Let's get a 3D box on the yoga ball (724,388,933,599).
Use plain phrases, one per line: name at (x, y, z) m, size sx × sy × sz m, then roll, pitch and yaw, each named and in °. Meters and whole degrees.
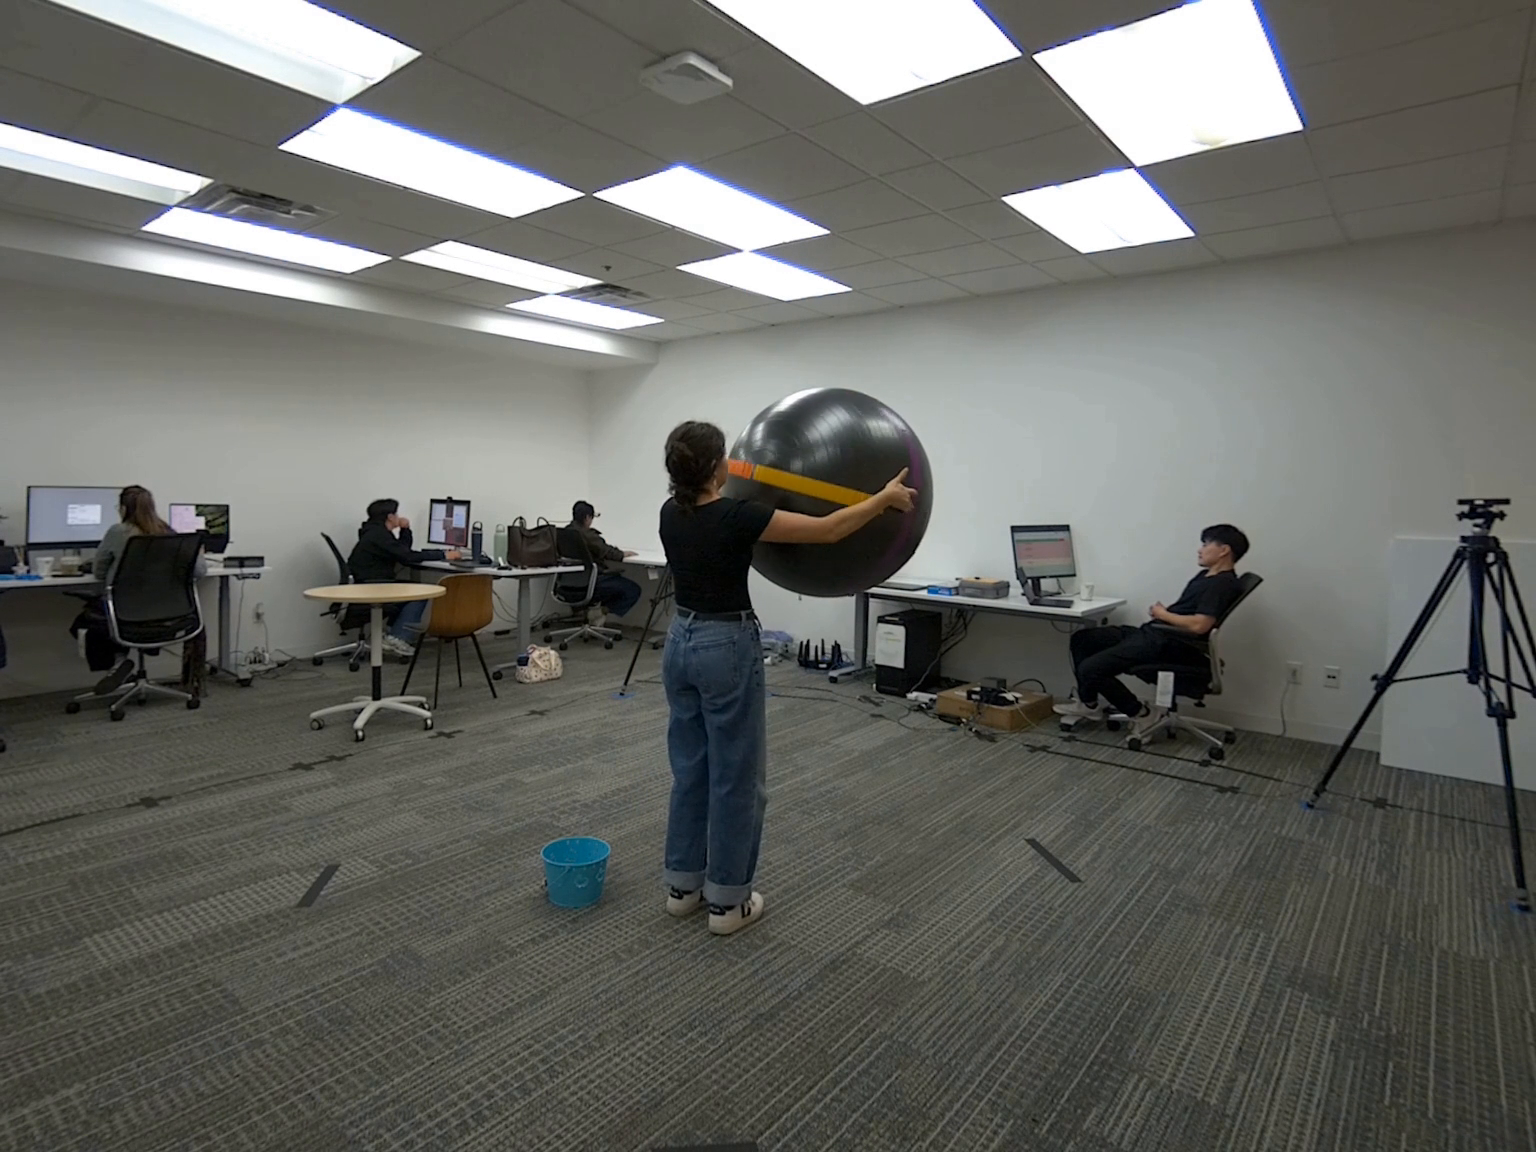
yoga ball at (0.204, -0.310, 3.086) m, size 0.757 × 0.755 × 0.762 m, roll 1°, pitch 4°, yaw -2°
